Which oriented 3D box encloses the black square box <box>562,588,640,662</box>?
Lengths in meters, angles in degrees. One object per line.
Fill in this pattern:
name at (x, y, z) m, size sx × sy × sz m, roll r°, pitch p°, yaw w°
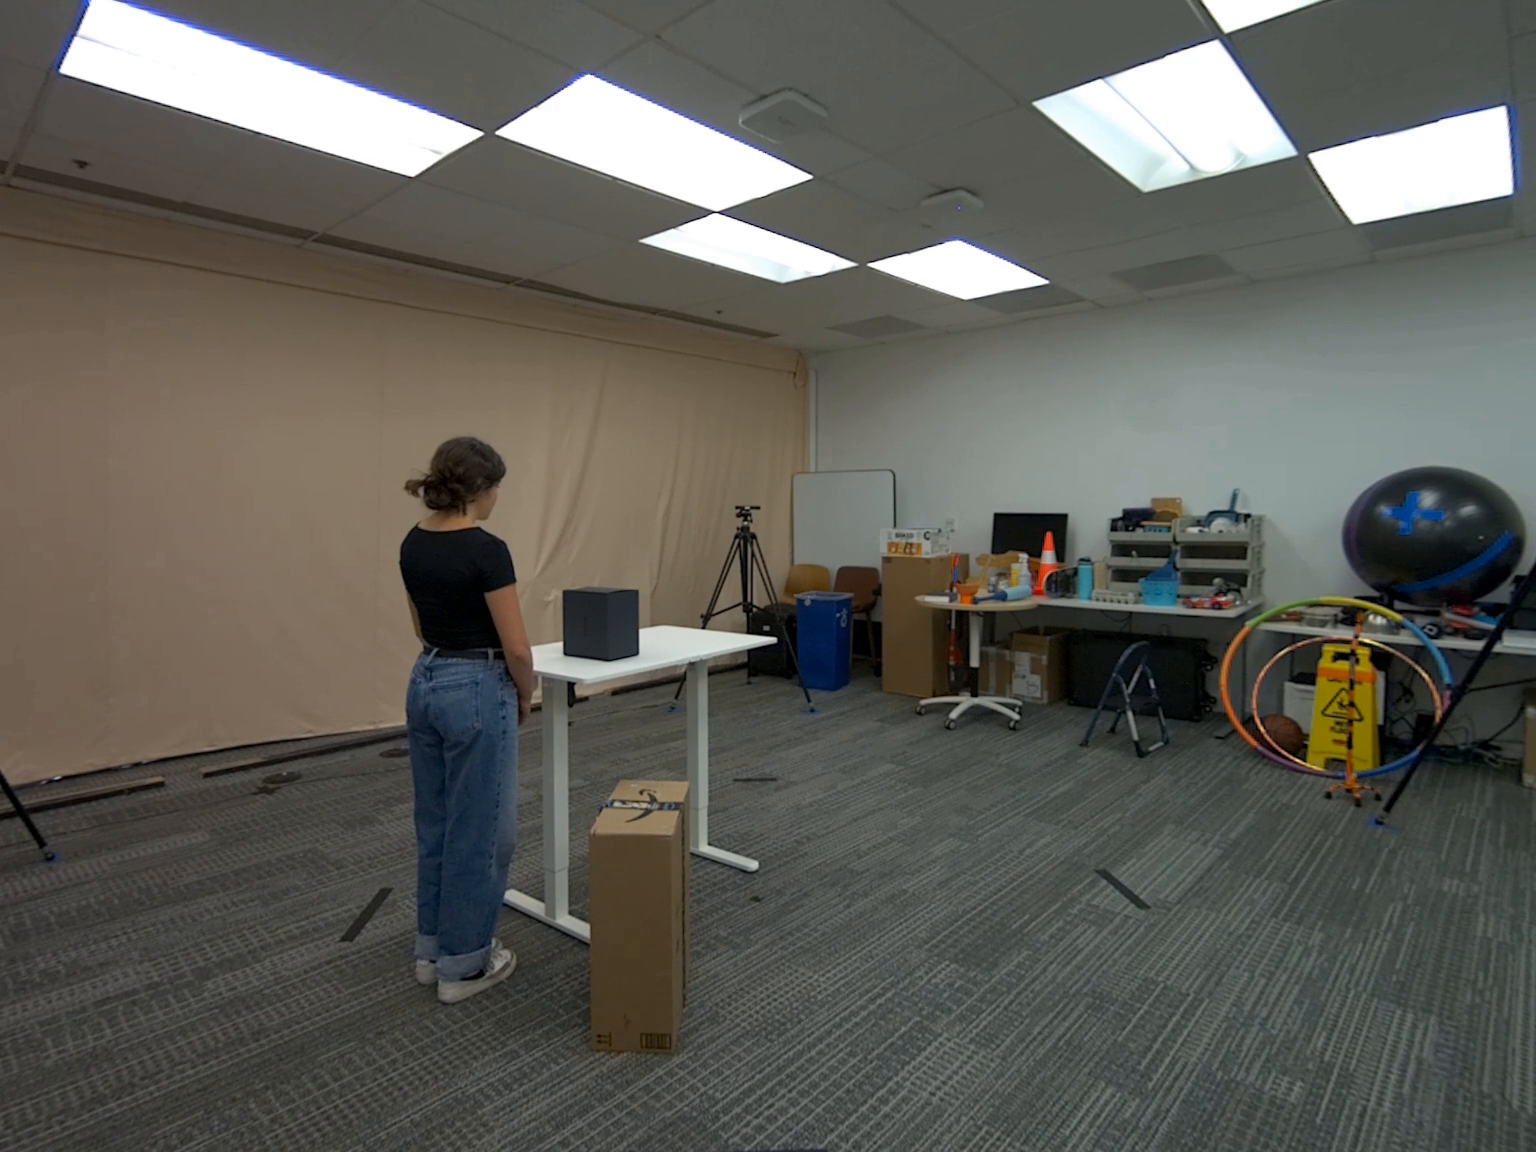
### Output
black square box at (-0.571, 0.159, 2.892) m, size 0.223 × 0.227 × 0.151 m, roll 2°, pitch 4°, yaw 33°
